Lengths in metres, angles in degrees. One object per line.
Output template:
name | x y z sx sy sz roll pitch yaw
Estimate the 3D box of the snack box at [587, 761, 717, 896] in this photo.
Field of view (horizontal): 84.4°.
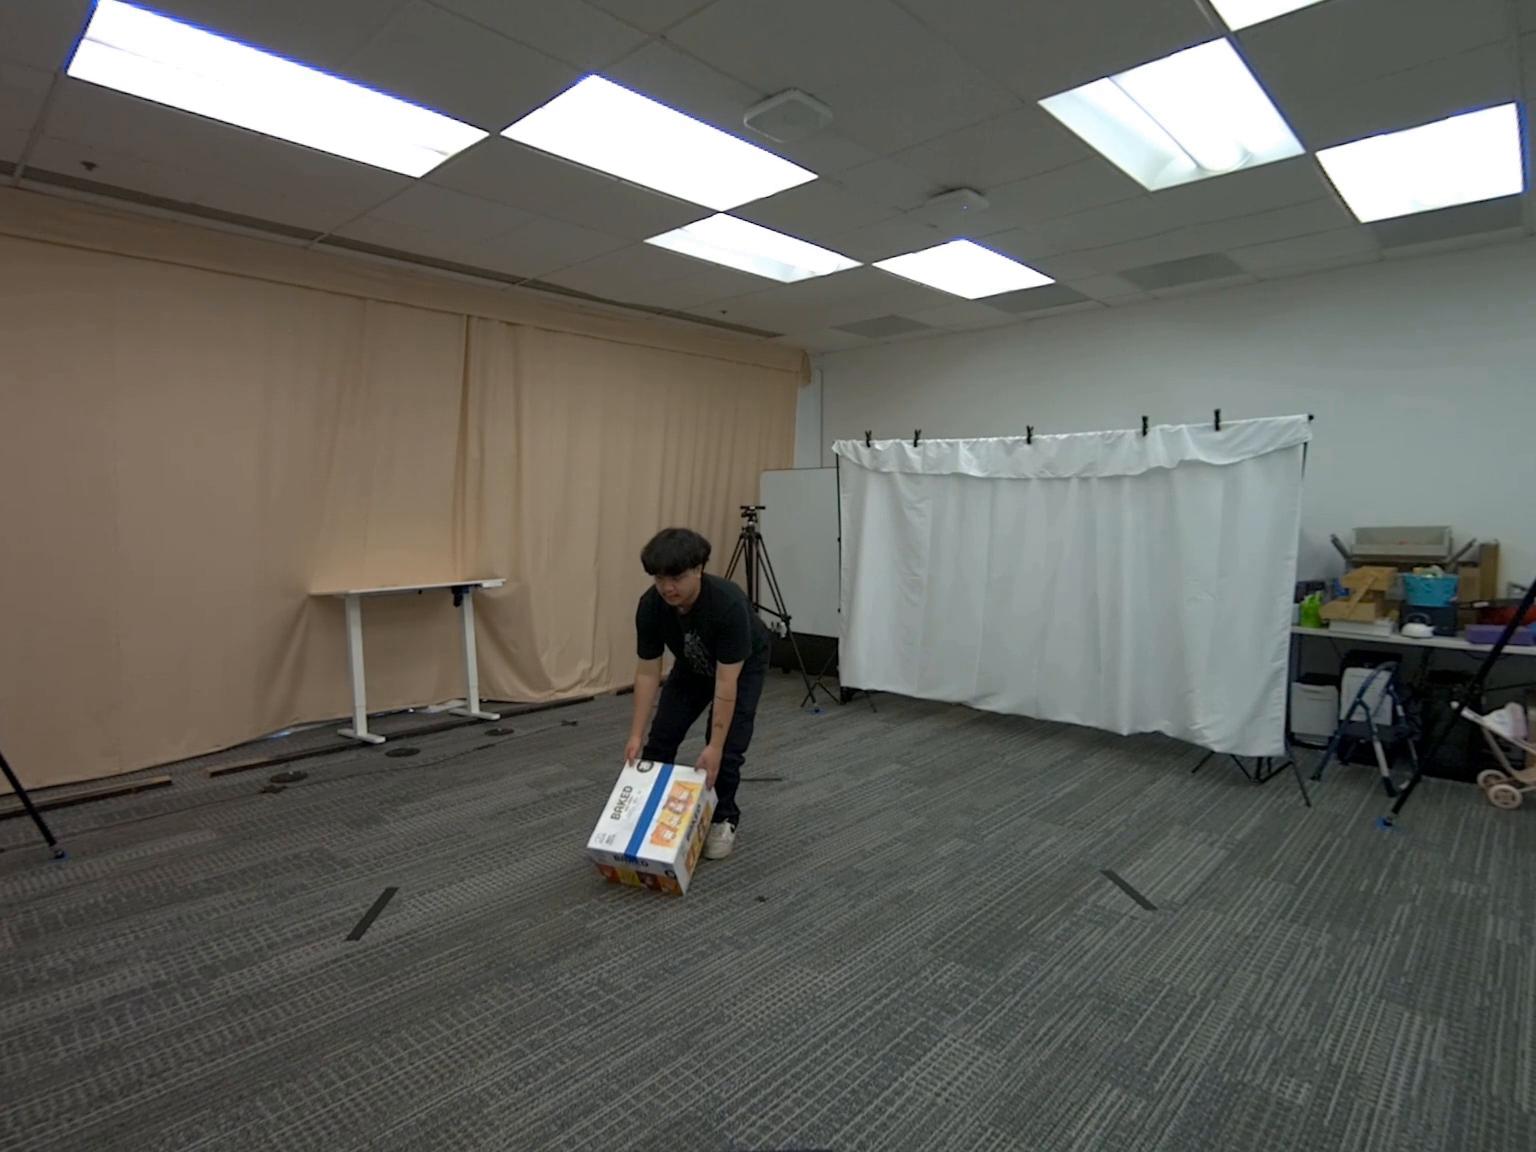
snack box | -0.420 0.930 3.162 0.347 0.201 0.407 2 40 19
